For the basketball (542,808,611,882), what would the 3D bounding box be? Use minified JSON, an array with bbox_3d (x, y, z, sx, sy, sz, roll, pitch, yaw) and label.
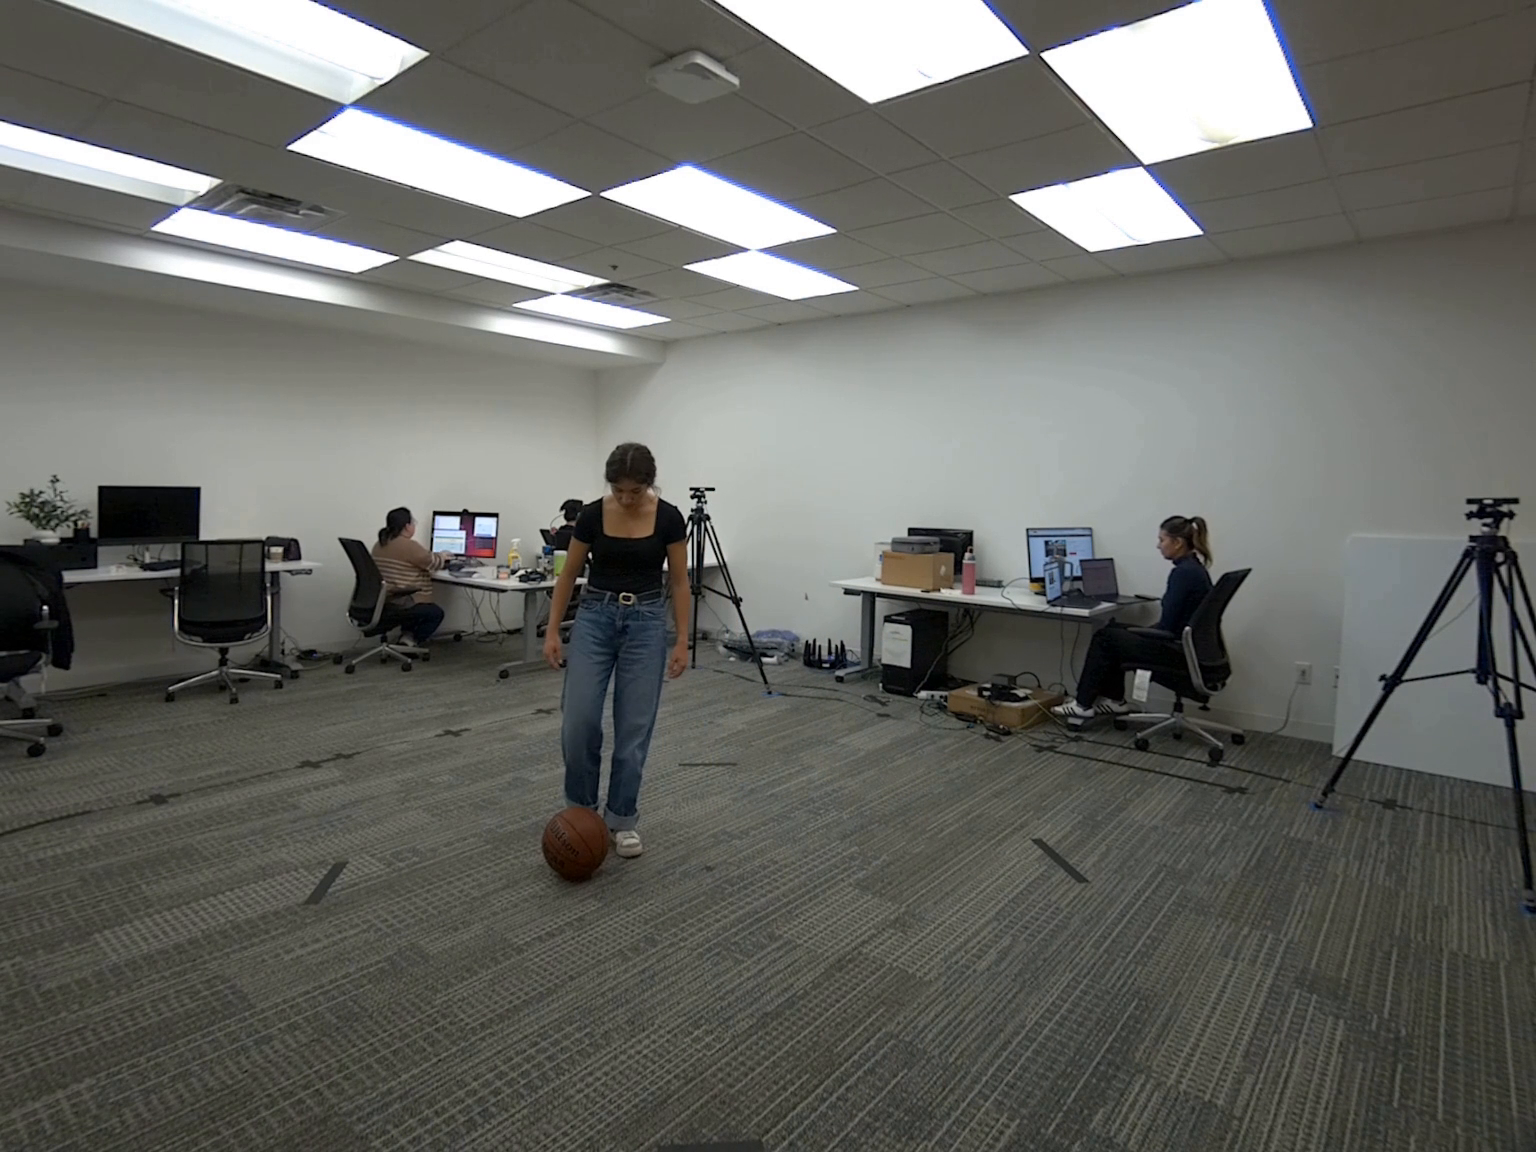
[{"bbox_3d":[-0.694,0.943,3.032,0.235,0.235,0.237,1,4,-2],"label":"basketball"}]
